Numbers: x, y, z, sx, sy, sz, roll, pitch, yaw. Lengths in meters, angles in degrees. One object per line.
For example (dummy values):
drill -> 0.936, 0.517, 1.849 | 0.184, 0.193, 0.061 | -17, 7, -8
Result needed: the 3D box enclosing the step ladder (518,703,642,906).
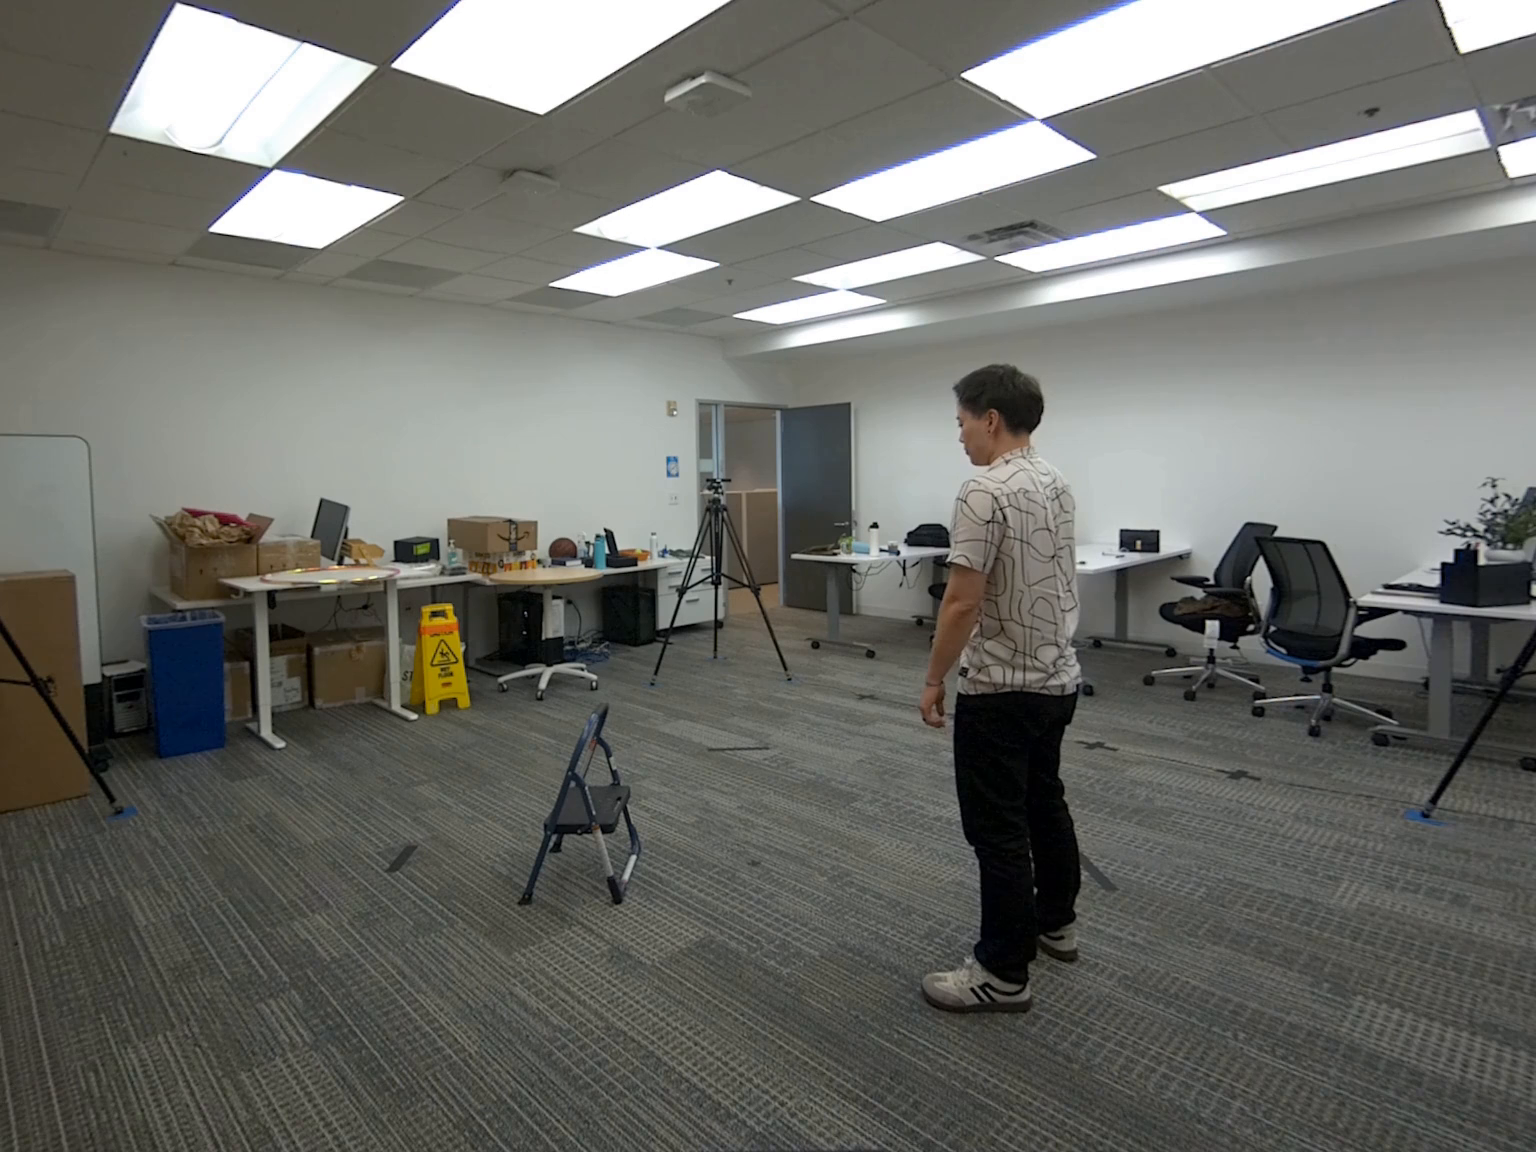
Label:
step ladder -> -0.656, 0.769, 3.013 | 0.350, 0.604, 0.431 | -2, 4, 1
